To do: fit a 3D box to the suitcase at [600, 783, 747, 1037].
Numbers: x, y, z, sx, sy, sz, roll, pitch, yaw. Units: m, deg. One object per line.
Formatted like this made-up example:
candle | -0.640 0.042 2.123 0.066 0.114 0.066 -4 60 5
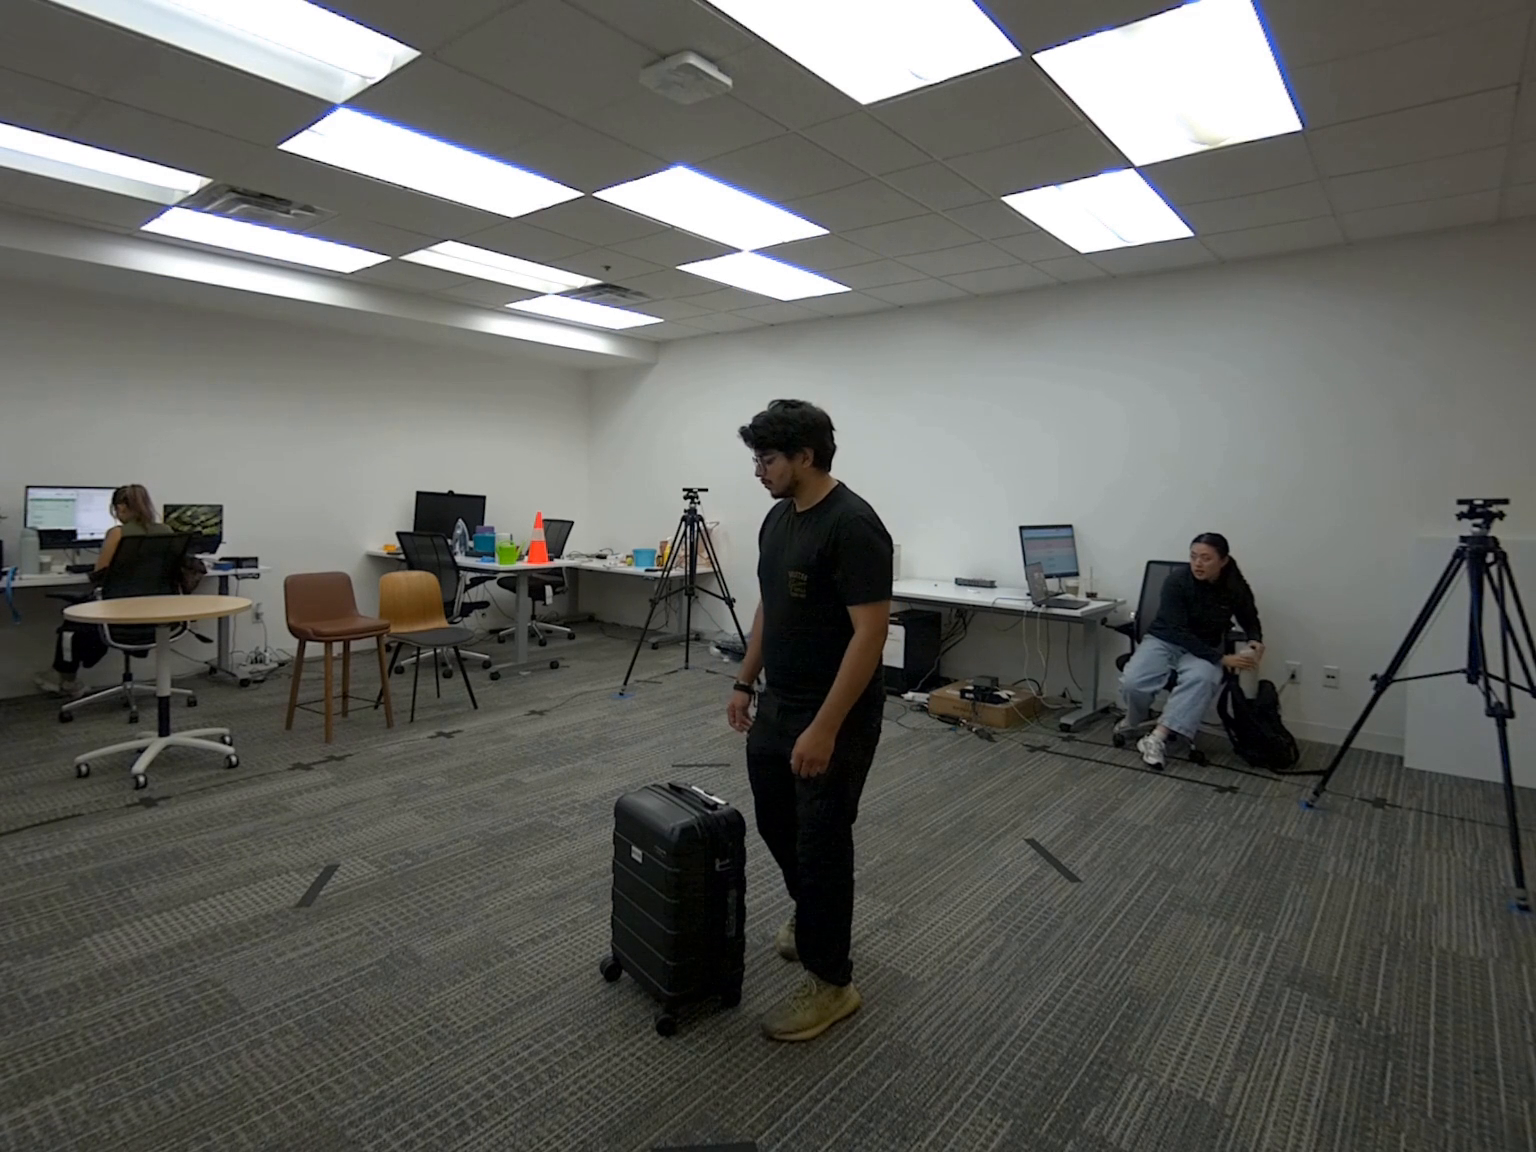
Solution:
suitcase | -0.256 0.868 2.336 0.241 0.548 0.388 0 4 -38
